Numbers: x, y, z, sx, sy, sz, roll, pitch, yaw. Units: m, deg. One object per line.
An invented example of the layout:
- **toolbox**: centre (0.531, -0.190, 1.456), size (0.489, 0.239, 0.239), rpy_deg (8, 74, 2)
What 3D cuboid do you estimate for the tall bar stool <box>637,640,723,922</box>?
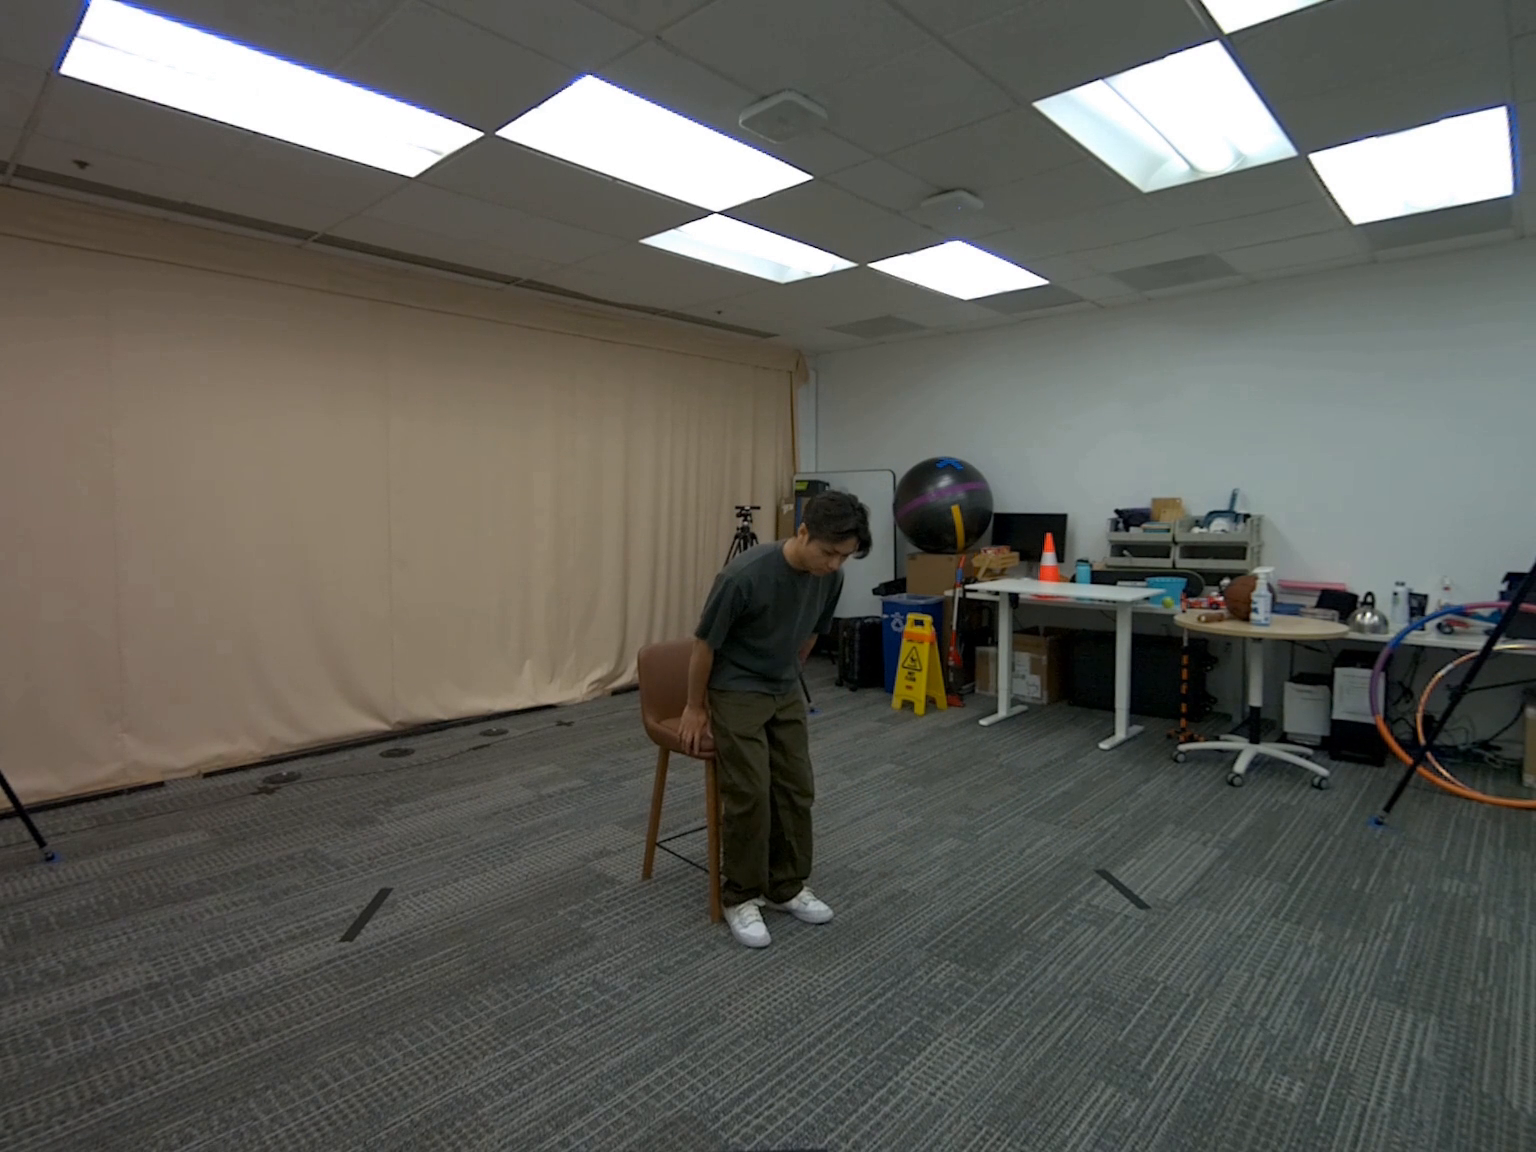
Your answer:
- **tall bar stool**: centre (-0.192, 0.697, 3.093), size (0.442, 0.888, 0.483), rpy_deg (-4, 3, -43)
